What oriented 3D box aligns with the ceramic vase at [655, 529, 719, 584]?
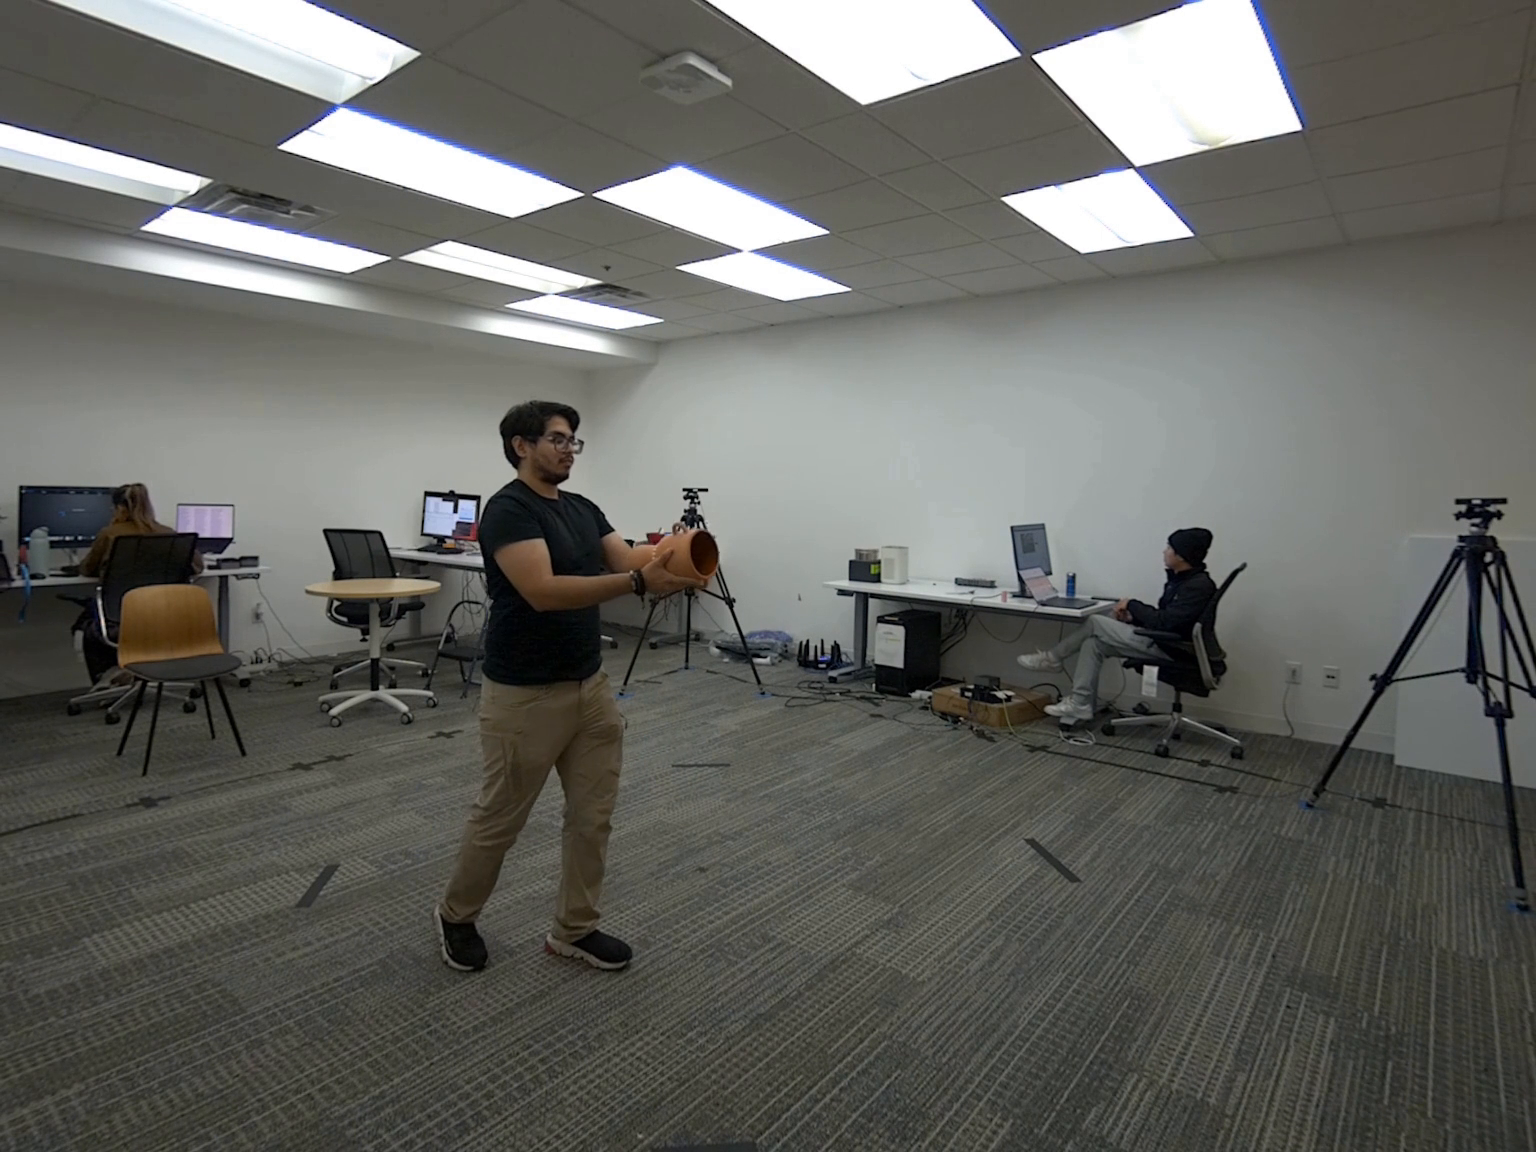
[{"bbox_3d":[-0.260,-0.045,2.271,0.225,0.161,0.129,-8,-20,35],"label":"ceramic vase"}]
